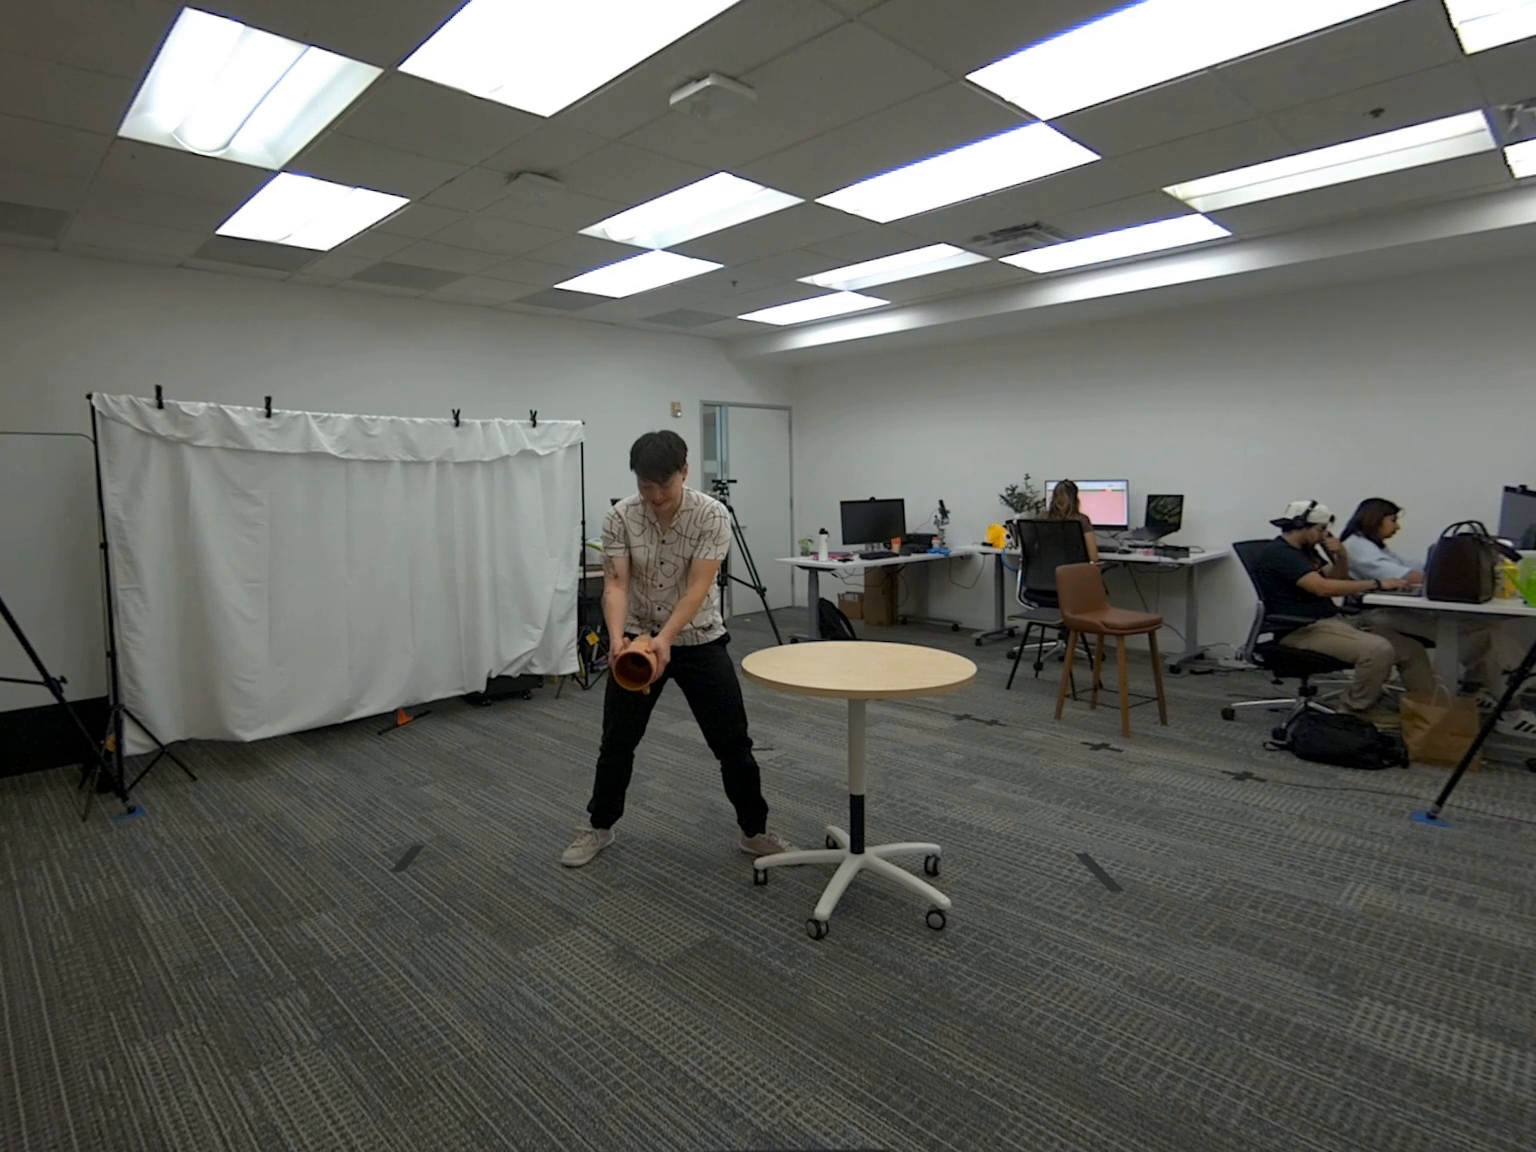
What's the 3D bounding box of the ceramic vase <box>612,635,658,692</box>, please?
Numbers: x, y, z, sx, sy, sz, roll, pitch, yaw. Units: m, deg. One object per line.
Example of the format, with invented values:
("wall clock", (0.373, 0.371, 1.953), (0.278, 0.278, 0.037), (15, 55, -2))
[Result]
("ceramic vase", (-0.421, 0.280, 2.790), (0.134, 0.158, 0.221), (20, 13, -2))
